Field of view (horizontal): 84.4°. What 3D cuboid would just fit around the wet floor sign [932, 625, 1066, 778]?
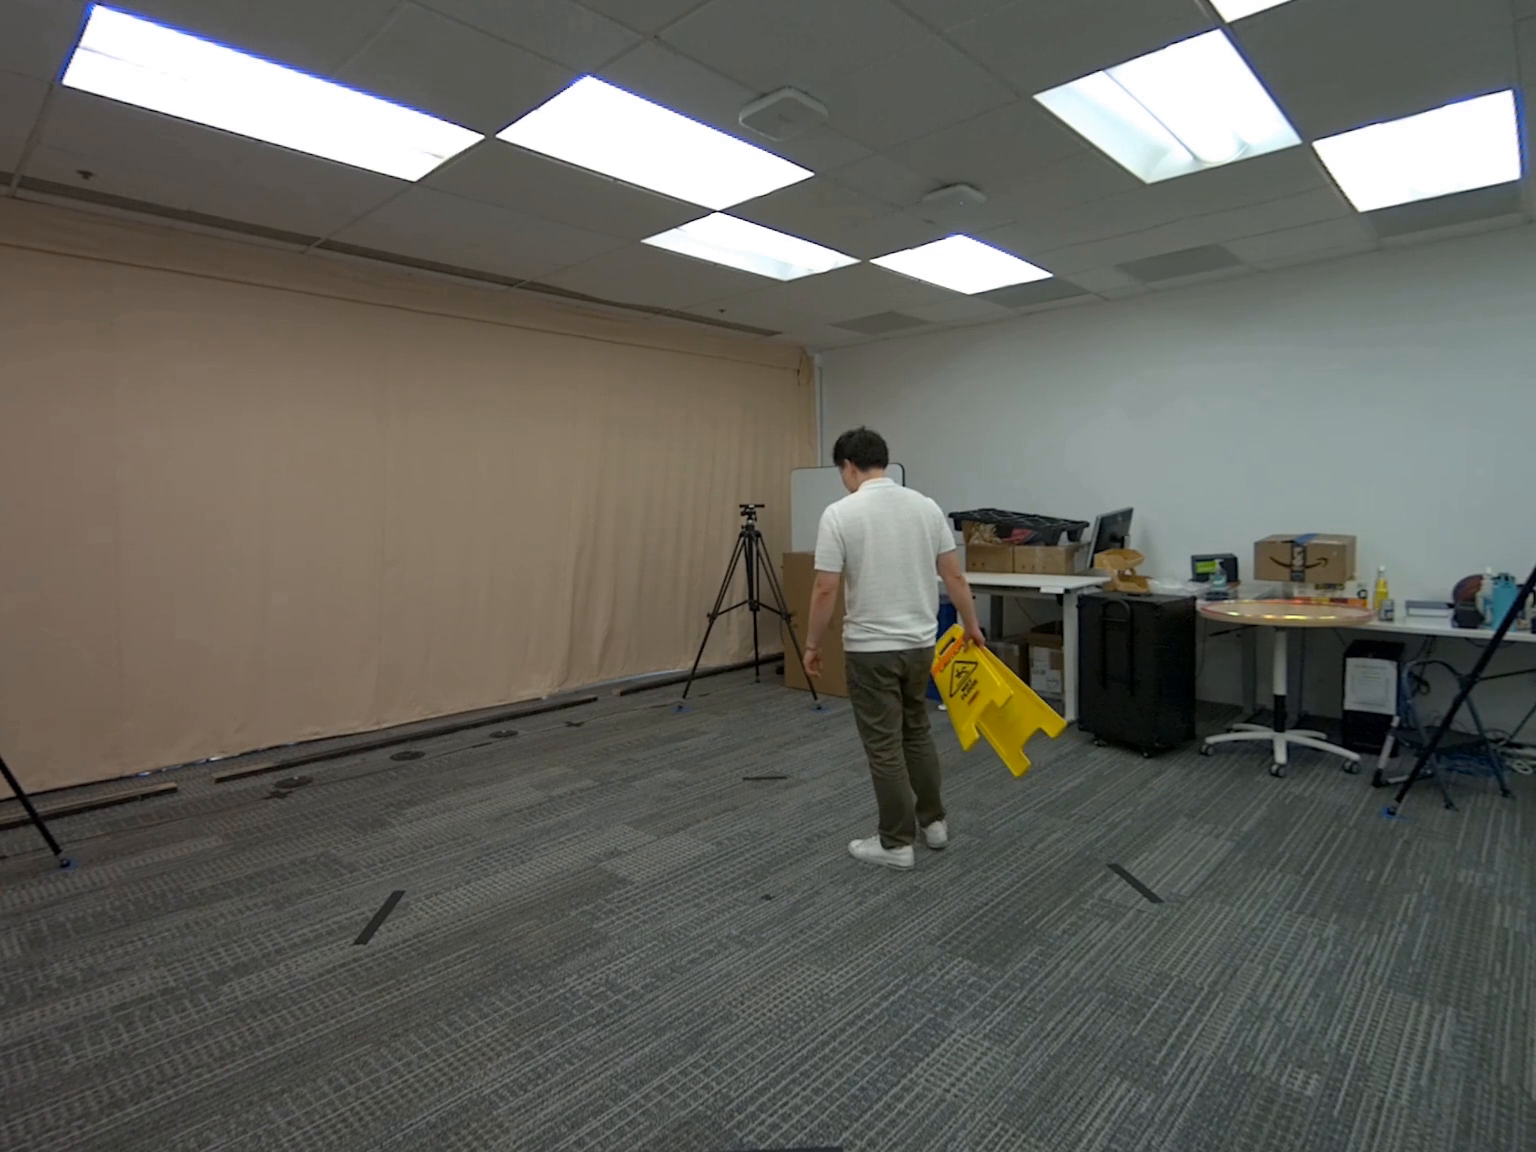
[{"bbox_3d":[0.821,0.428,3.314,0.281,0.283,0.663,28,17,-26],"label":"wet floor sign"}]
